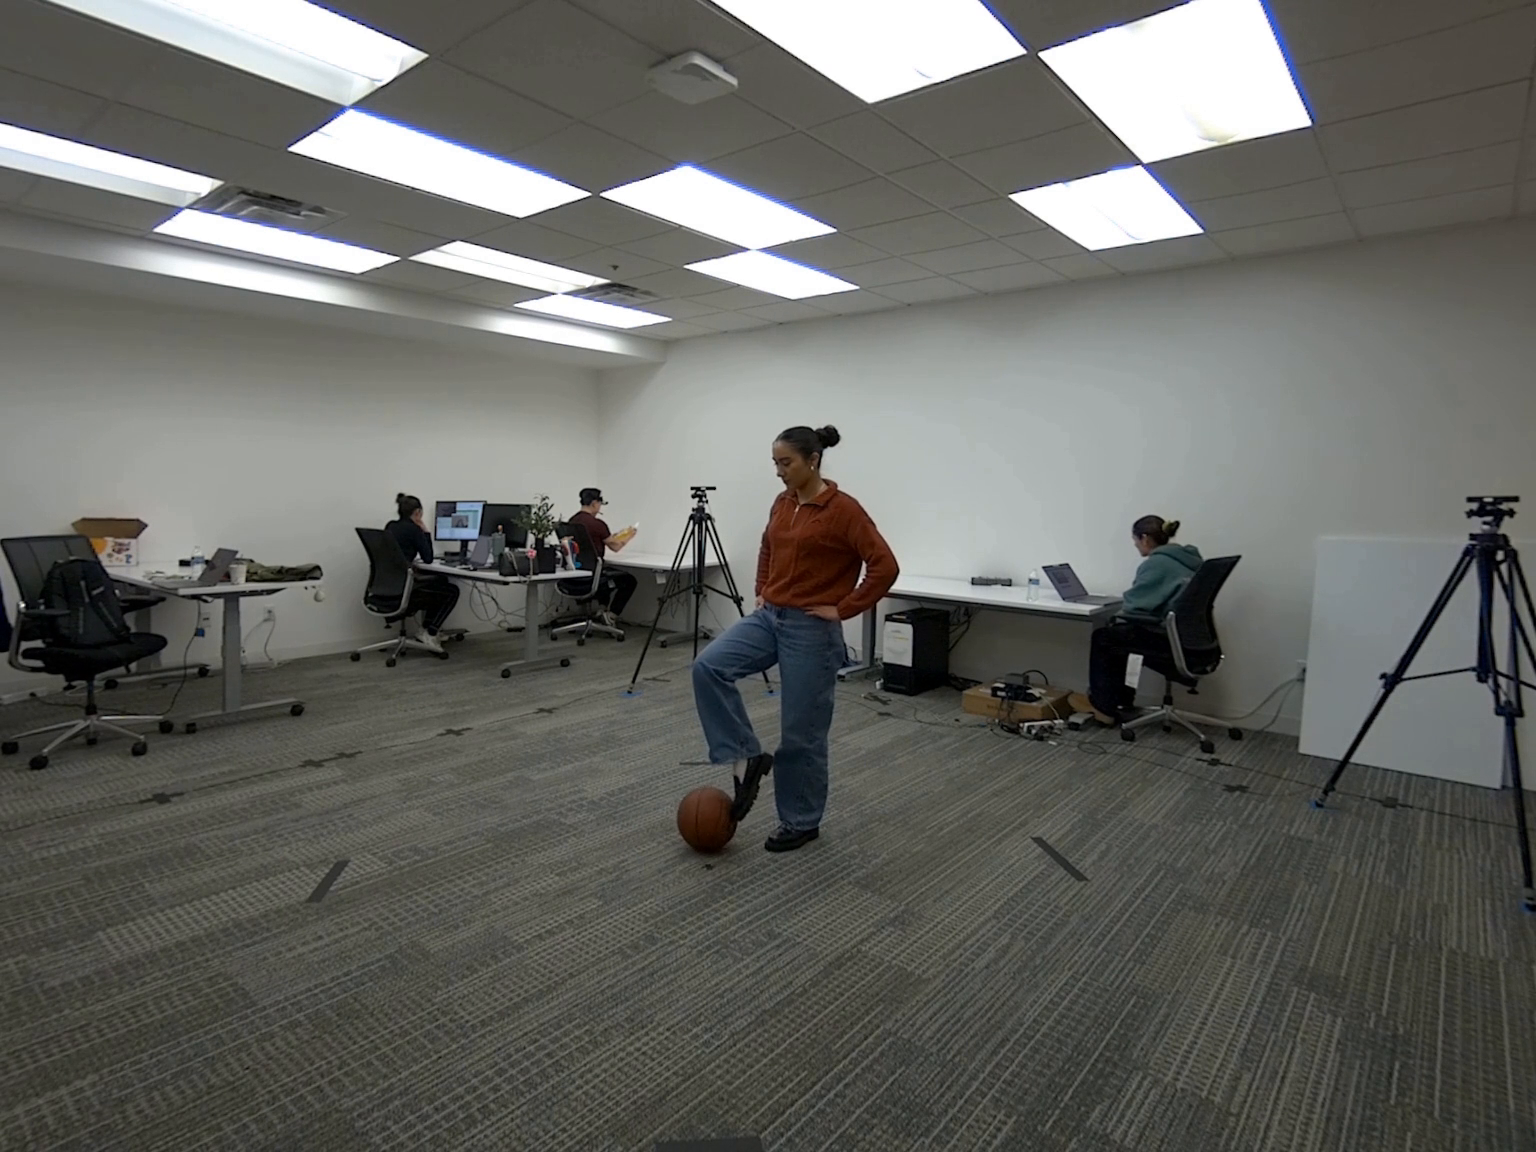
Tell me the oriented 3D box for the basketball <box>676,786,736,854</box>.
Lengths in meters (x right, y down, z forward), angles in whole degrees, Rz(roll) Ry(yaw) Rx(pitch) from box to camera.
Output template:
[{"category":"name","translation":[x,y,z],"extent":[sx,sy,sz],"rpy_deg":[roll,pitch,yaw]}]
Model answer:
[{"category":"basketball","translation":[-0.248,0.928,3.274],"extent":[0.235,0.235,0.237],"rpy_deg":[1,4,-2]}]
